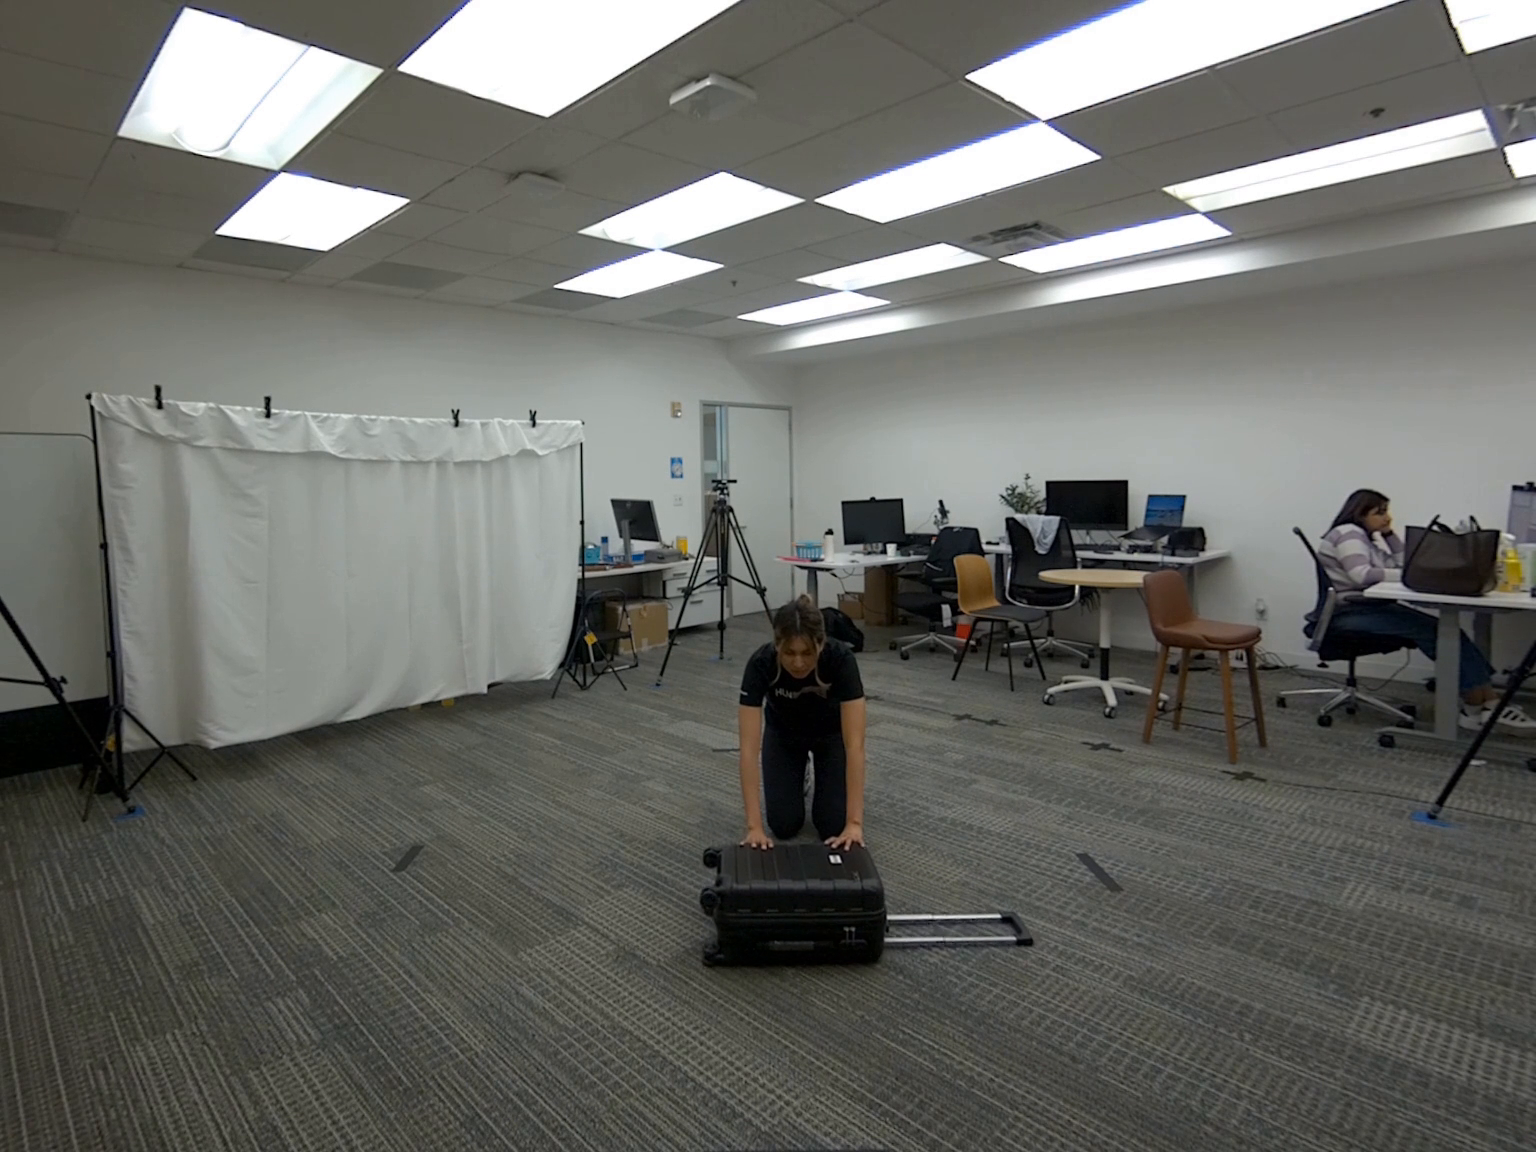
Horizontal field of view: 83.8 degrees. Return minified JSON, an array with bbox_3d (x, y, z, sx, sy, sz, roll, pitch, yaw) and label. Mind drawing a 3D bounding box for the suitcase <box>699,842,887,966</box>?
[{"bbox_3d":[0.285,0.981,2.592,0.979,0.256,0.385,-3,4,0],"label":"suitcase"}]
